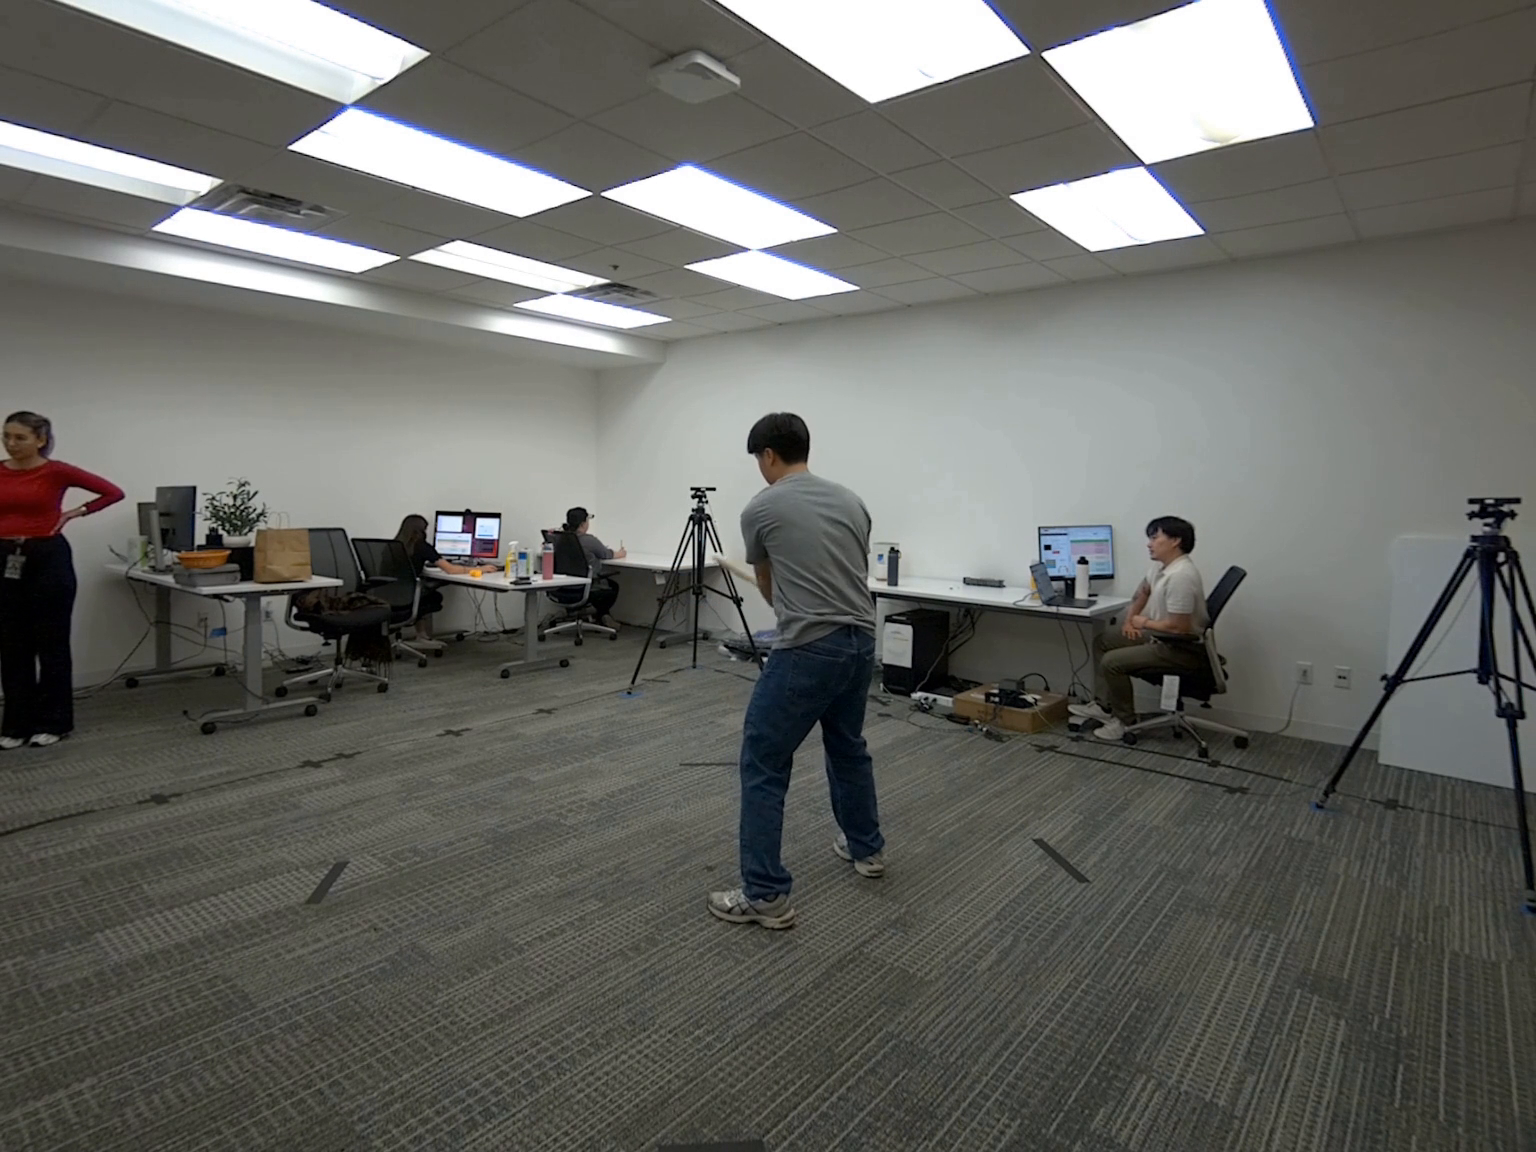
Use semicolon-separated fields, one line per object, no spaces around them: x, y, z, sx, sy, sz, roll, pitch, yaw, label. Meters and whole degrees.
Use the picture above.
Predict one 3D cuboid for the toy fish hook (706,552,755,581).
-0.053;0.066;3.425;0.524;0.048;0.217;33;-4;26;toy fish hook
